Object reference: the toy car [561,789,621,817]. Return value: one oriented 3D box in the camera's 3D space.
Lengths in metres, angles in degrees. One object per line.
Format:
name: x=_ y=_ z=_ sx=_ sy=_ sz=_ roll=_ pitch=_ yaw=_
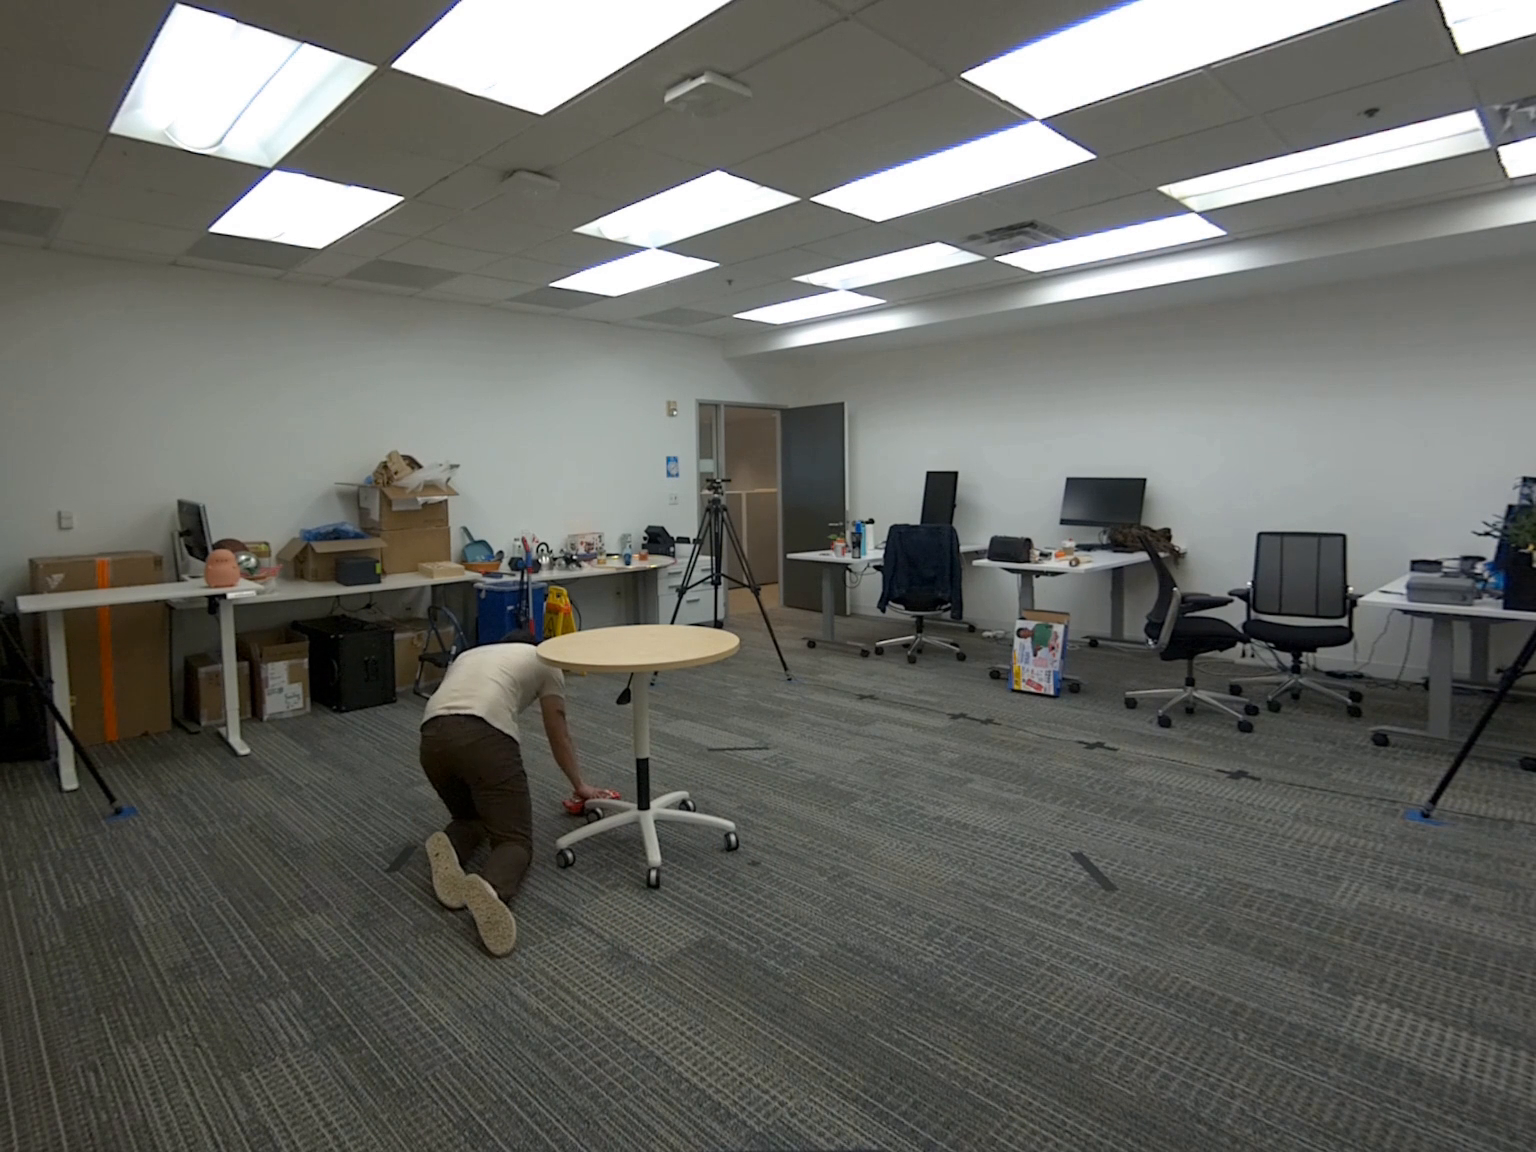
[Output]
toy car: x=-0.768 y=0.966 z=3.659 sx=0.246 sy=0.083 sz=0.134 roll=8 pitch=-1 yaw=-40
